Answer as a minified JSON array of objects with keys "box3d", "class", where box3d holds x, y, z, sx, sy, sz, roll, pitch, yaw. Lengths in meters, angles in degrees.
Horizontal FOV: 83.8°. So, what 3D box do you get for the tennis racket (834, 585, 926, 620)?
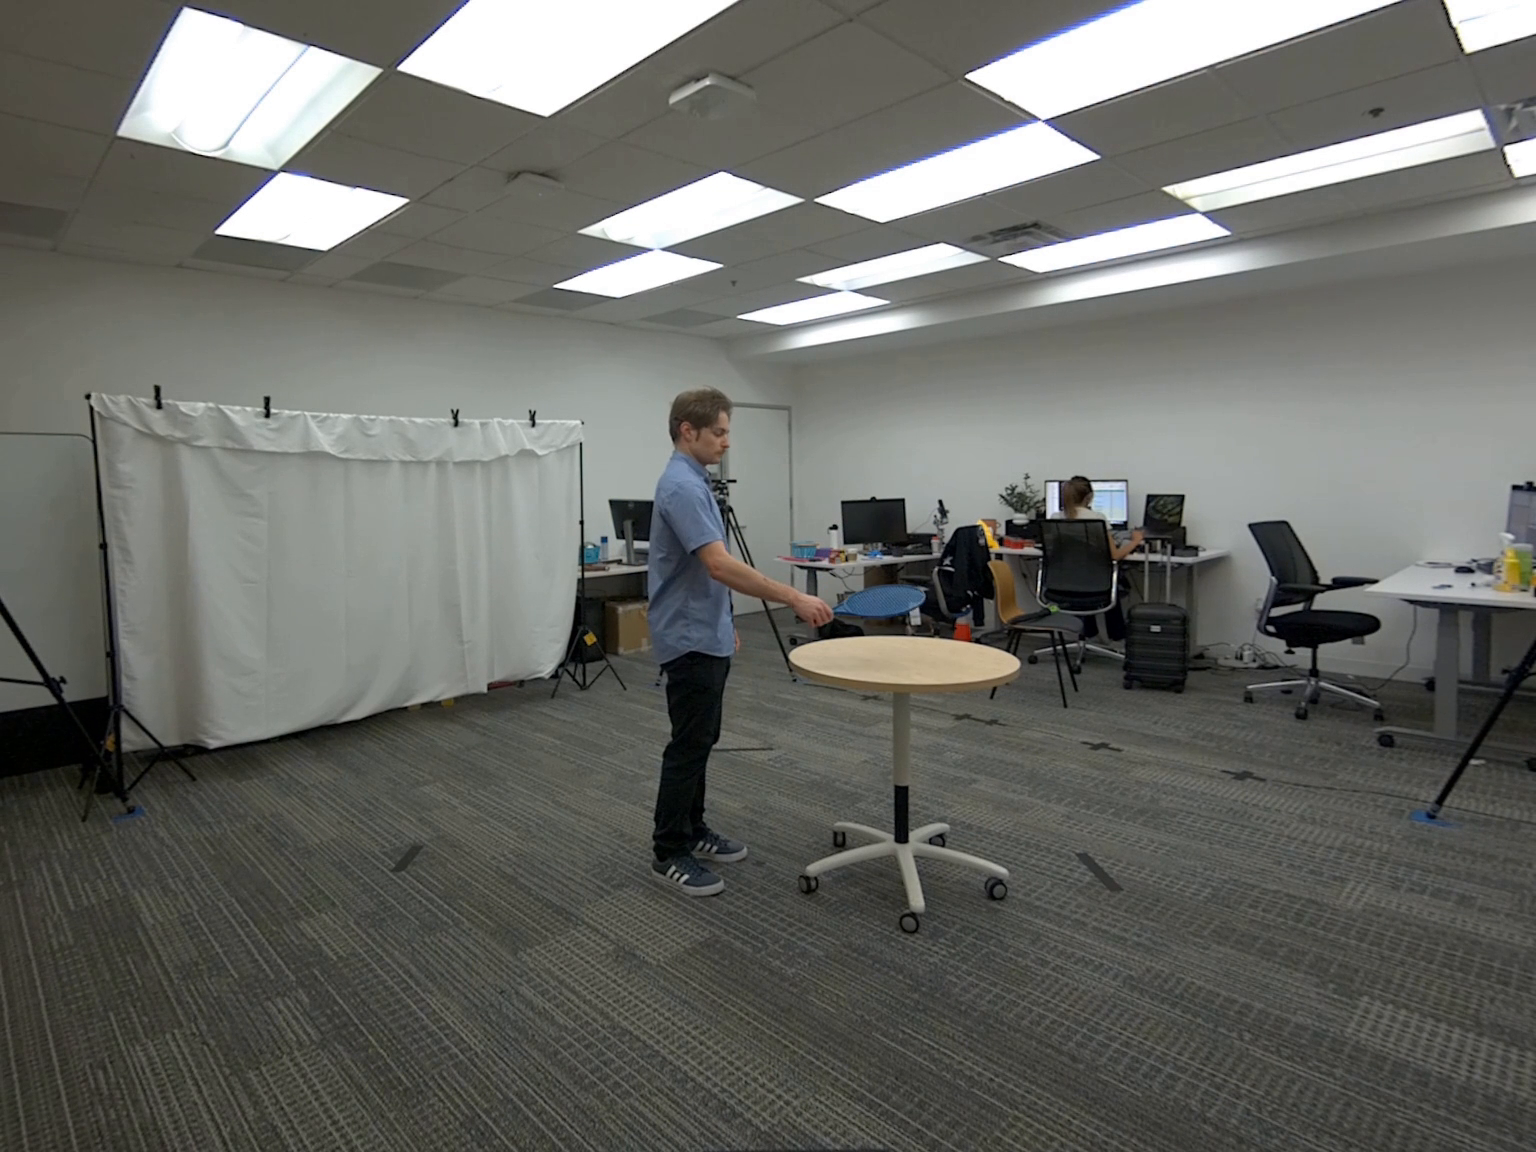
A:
[{"box3d":[0.297,0.100,2.757,0.431,0.031,0.219,-13,24,-4],"class":"tennis racket"}]
